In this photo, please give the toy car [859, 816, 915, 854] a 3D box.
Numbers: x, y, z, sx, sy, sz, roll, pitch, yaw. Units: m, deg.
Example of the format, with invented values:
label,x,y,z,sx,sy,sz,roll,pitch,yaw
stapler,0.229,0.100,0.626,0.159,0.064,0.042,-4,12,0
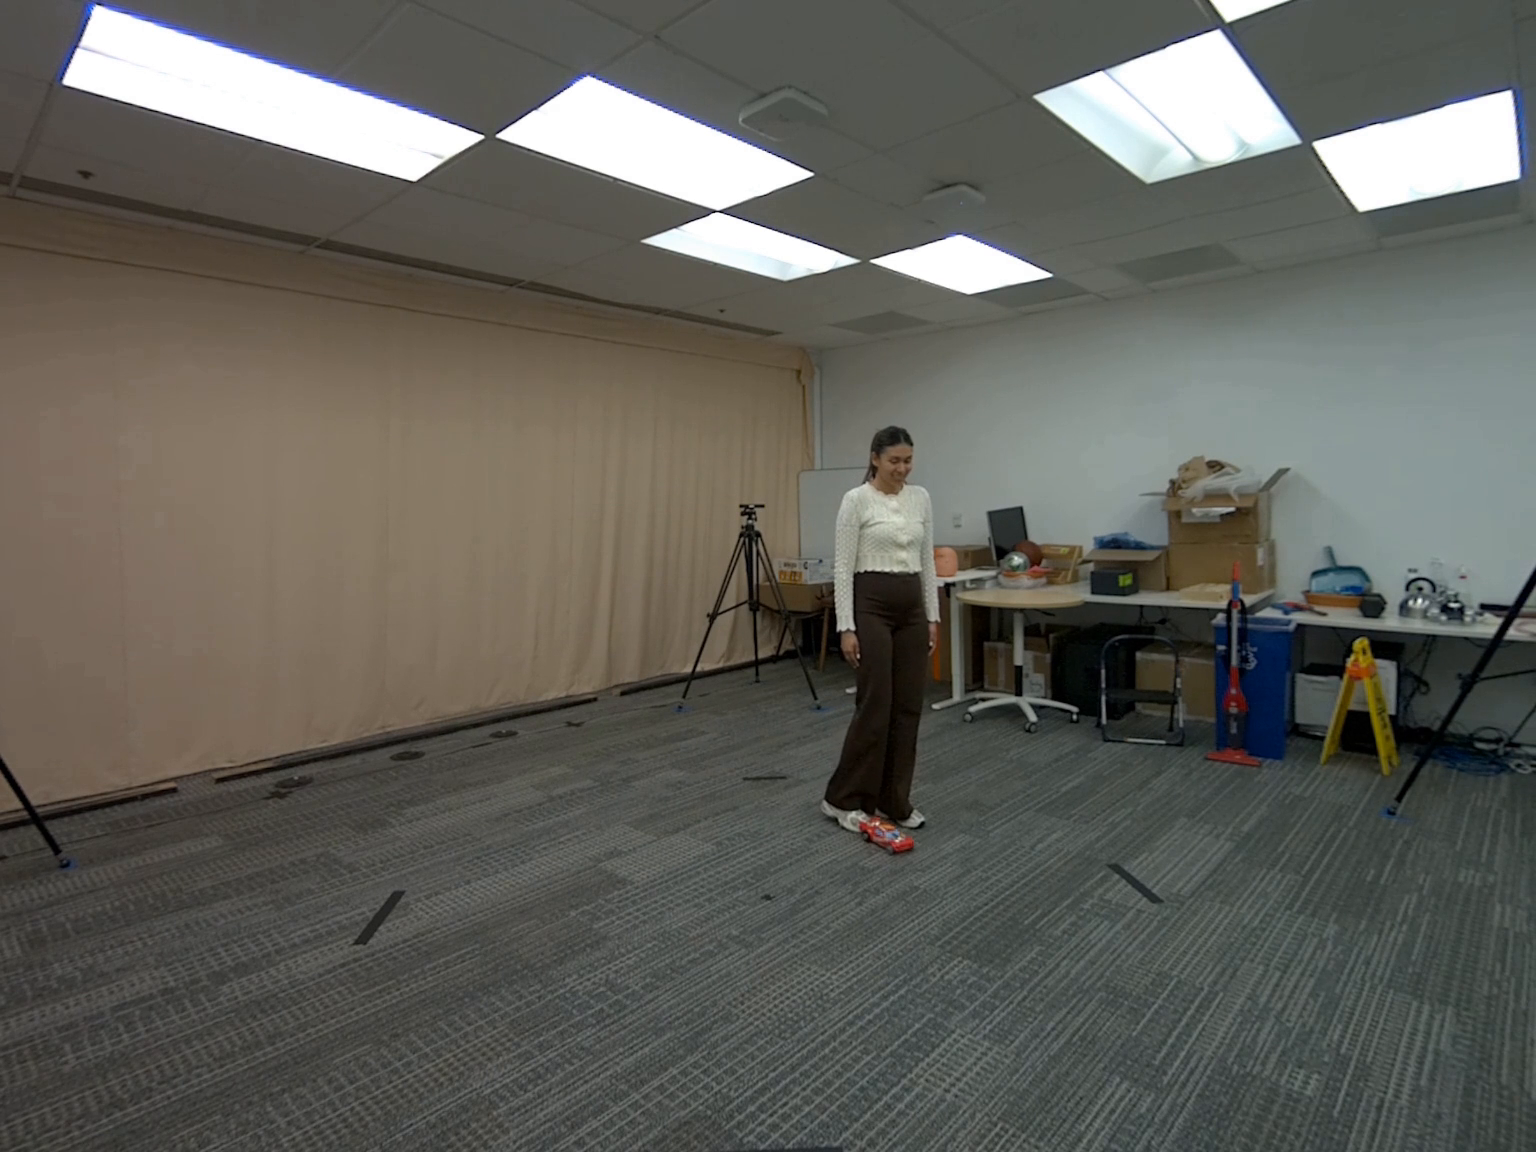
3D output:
label,x,y,z,sx,sy,sz,roll,pitch,yaw
toy car,0.478,1.057,3.435,0.127,0.082,0.263,-3,16,-30
